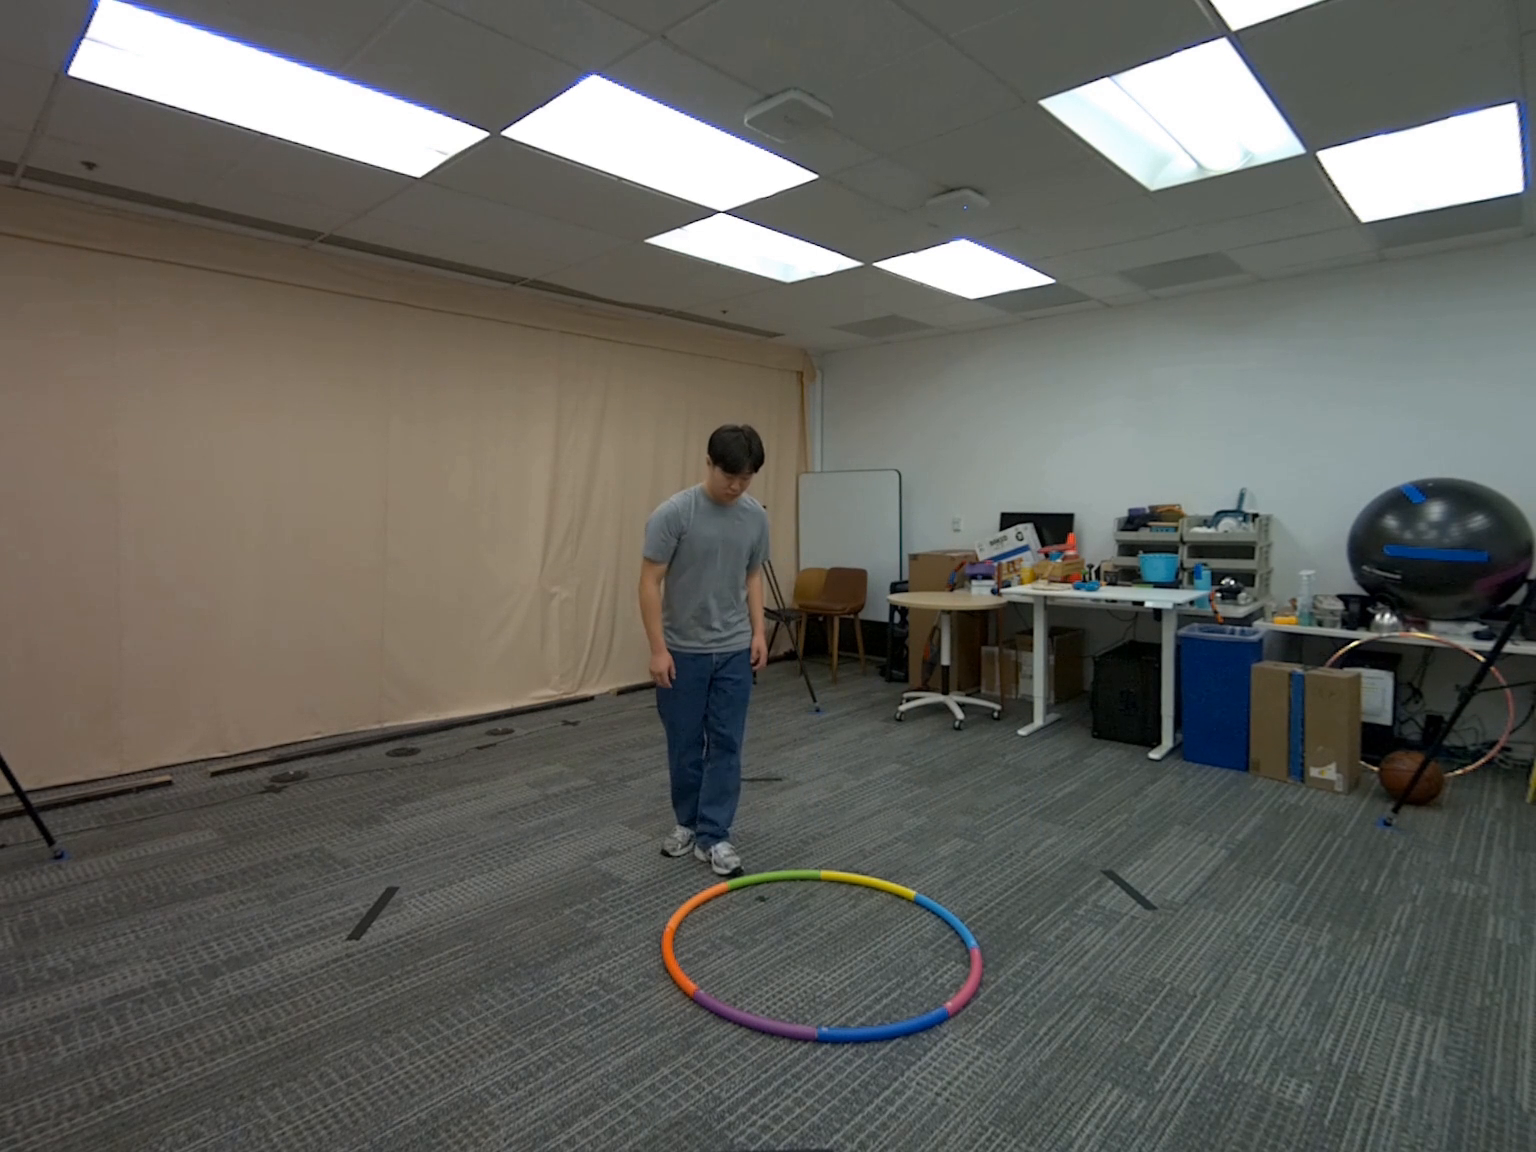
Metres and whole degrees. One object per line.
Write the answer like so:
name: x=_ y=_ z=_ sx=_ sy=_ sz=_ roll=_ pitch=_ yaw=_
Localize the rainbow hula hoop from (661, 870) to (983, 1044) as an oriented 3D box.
rainbow hula hoop: x=0.162 y=1.140 z=2.666 sx=0.978 sy=0.035 sz=0.982 roll=-1 pitch=4 yaw=-2
